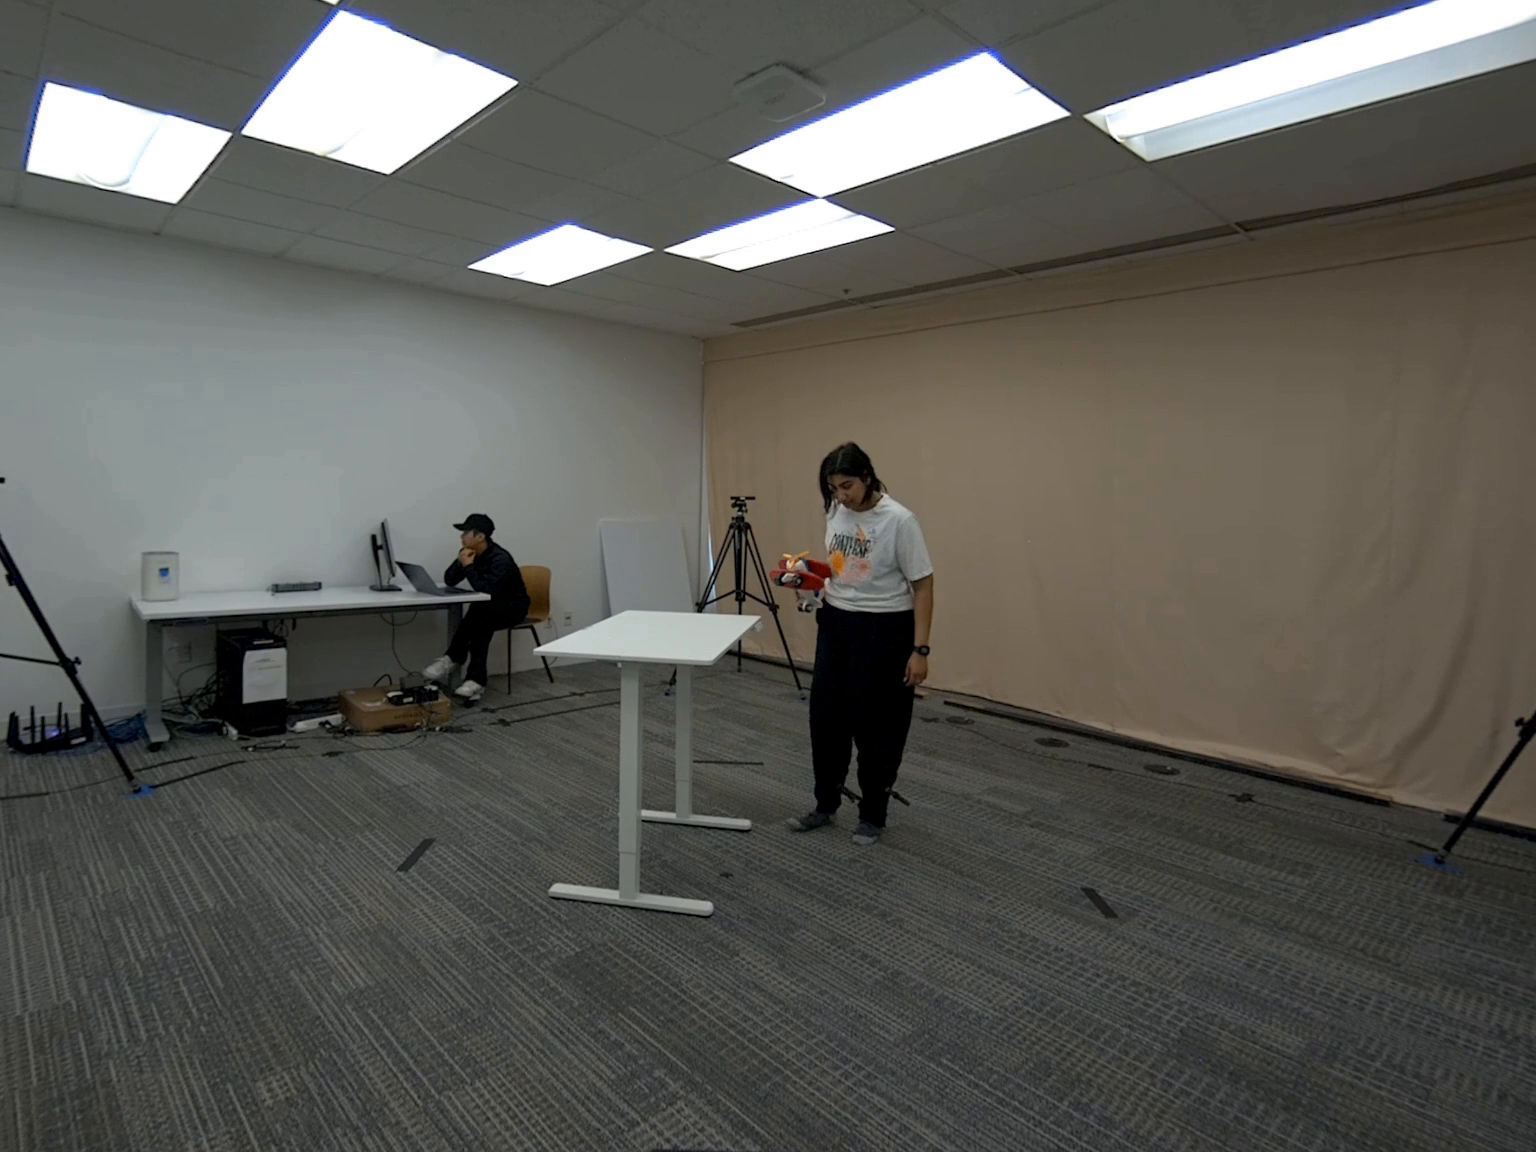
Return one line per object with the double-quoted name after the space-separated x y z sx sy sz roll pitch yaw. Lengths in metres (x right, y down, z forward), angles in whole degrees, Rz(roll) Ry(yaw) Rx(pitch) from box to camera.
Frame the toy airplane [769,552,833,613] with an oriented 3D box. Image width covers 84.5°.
0.116 0.030 3.500 0.255 0.157 0.254 20 -29 13 "toy airplane"
